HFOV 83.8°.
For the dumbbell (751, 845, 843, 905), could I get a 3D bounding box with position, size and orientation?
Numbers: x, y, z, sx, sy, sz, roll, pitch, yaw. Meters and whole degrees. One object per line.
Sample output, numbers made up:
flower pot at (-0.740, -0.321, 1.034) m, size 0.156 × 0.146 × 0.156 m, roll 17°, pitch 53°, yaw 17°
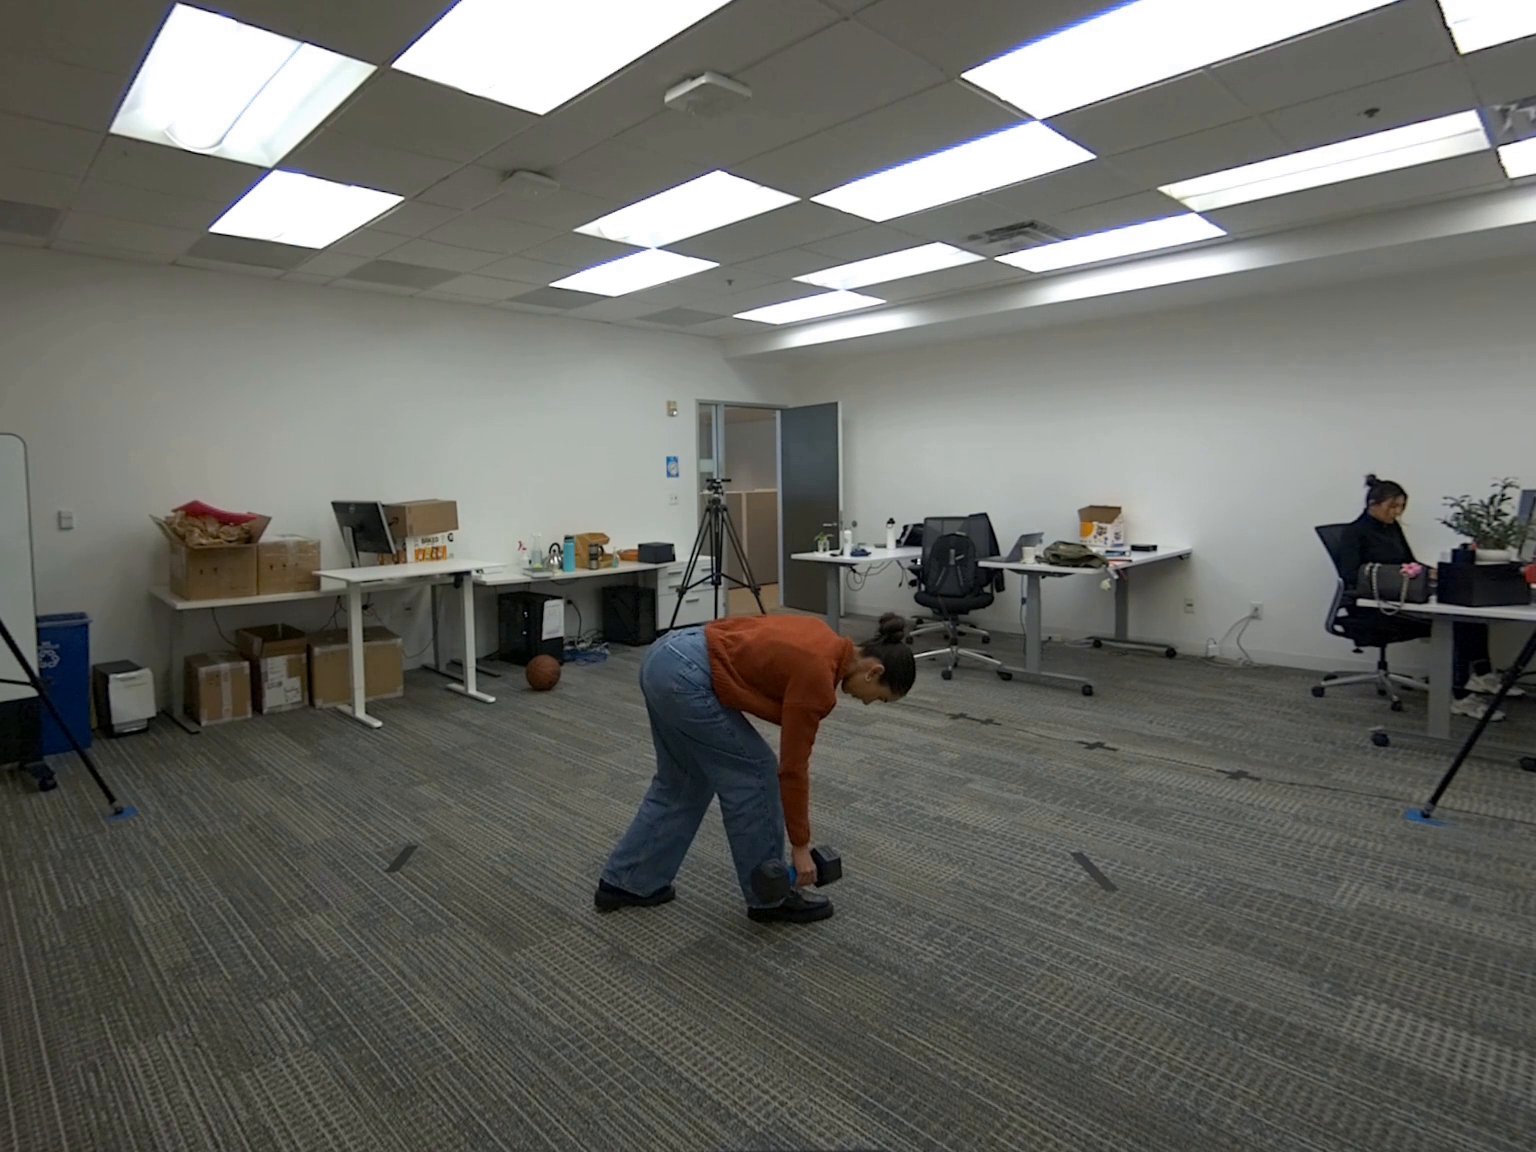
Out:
dumbbell at (0.098, 0.914, 2.604) m, size 0.286 × 0.124 × 0.111 m, roll -1°, pitch -6°, yaw -35°
